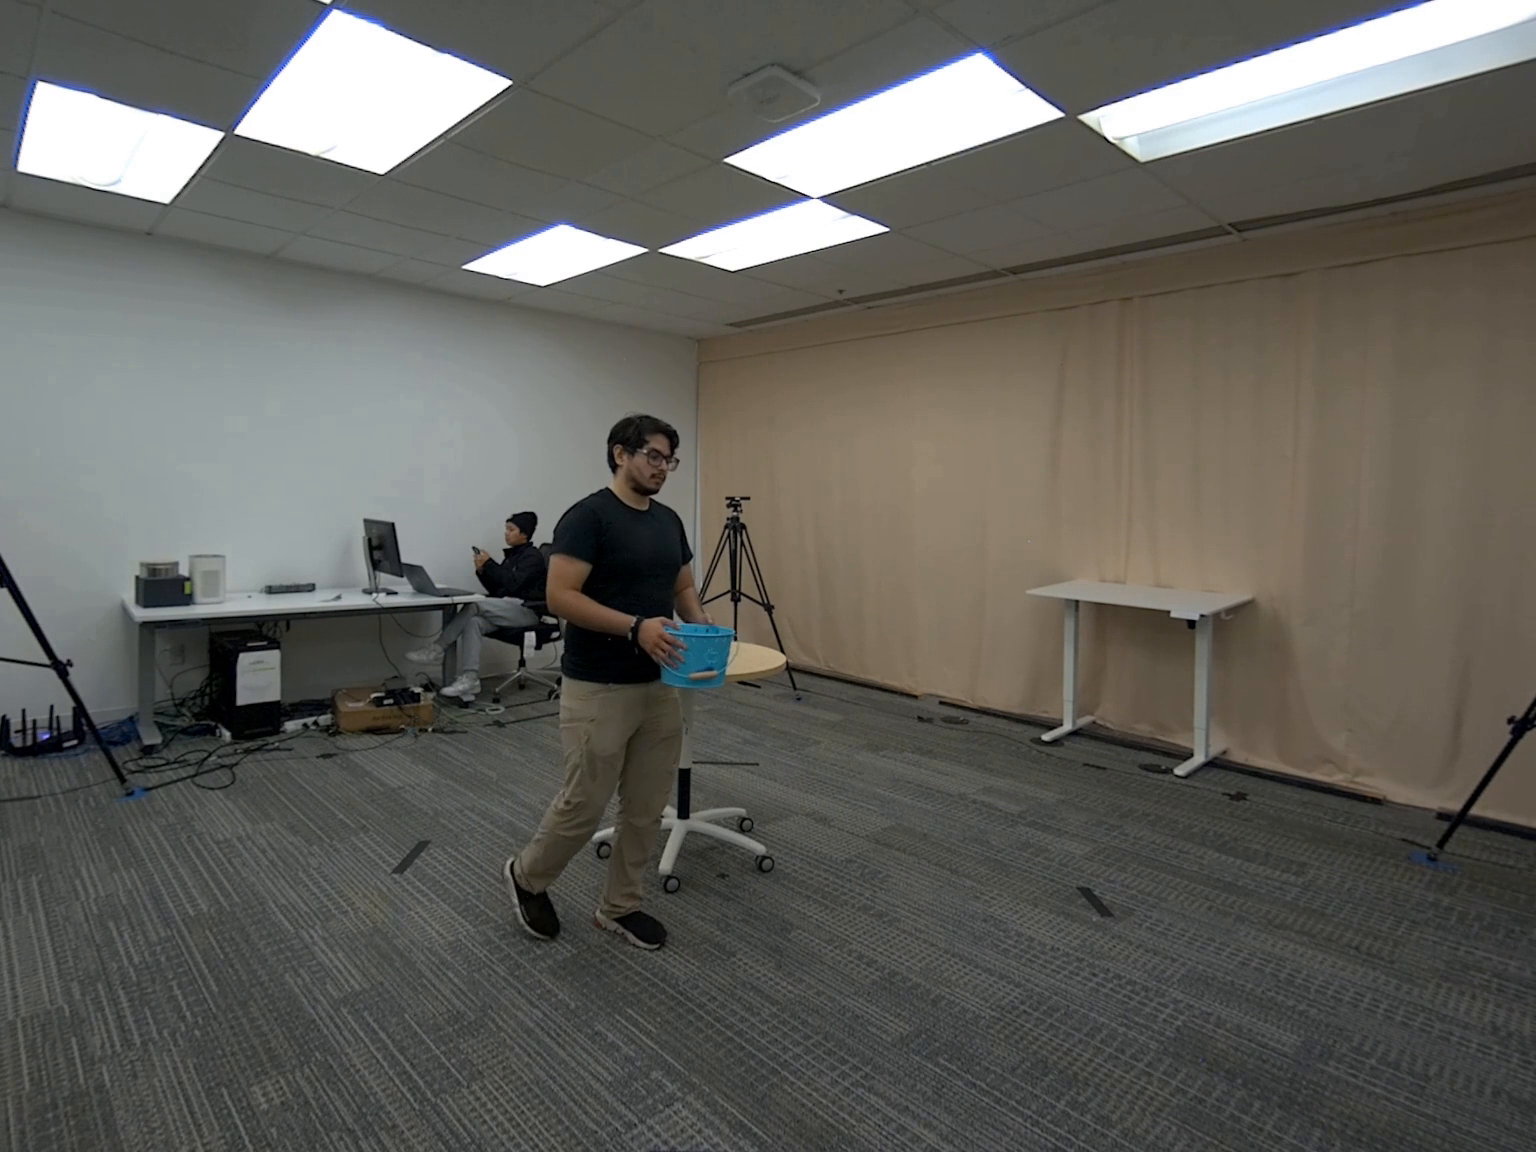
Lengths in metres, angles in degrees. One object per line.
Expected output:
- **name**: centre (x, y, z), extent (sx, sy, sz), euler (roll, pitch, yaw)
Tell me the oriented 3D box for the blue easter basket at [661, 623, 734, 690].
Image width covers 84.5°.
- **blue easter basket**: centre (-0.240, 0.234, 2.410), extent (0.243, 0.156, 0.244), euler (2, 3, -1)
